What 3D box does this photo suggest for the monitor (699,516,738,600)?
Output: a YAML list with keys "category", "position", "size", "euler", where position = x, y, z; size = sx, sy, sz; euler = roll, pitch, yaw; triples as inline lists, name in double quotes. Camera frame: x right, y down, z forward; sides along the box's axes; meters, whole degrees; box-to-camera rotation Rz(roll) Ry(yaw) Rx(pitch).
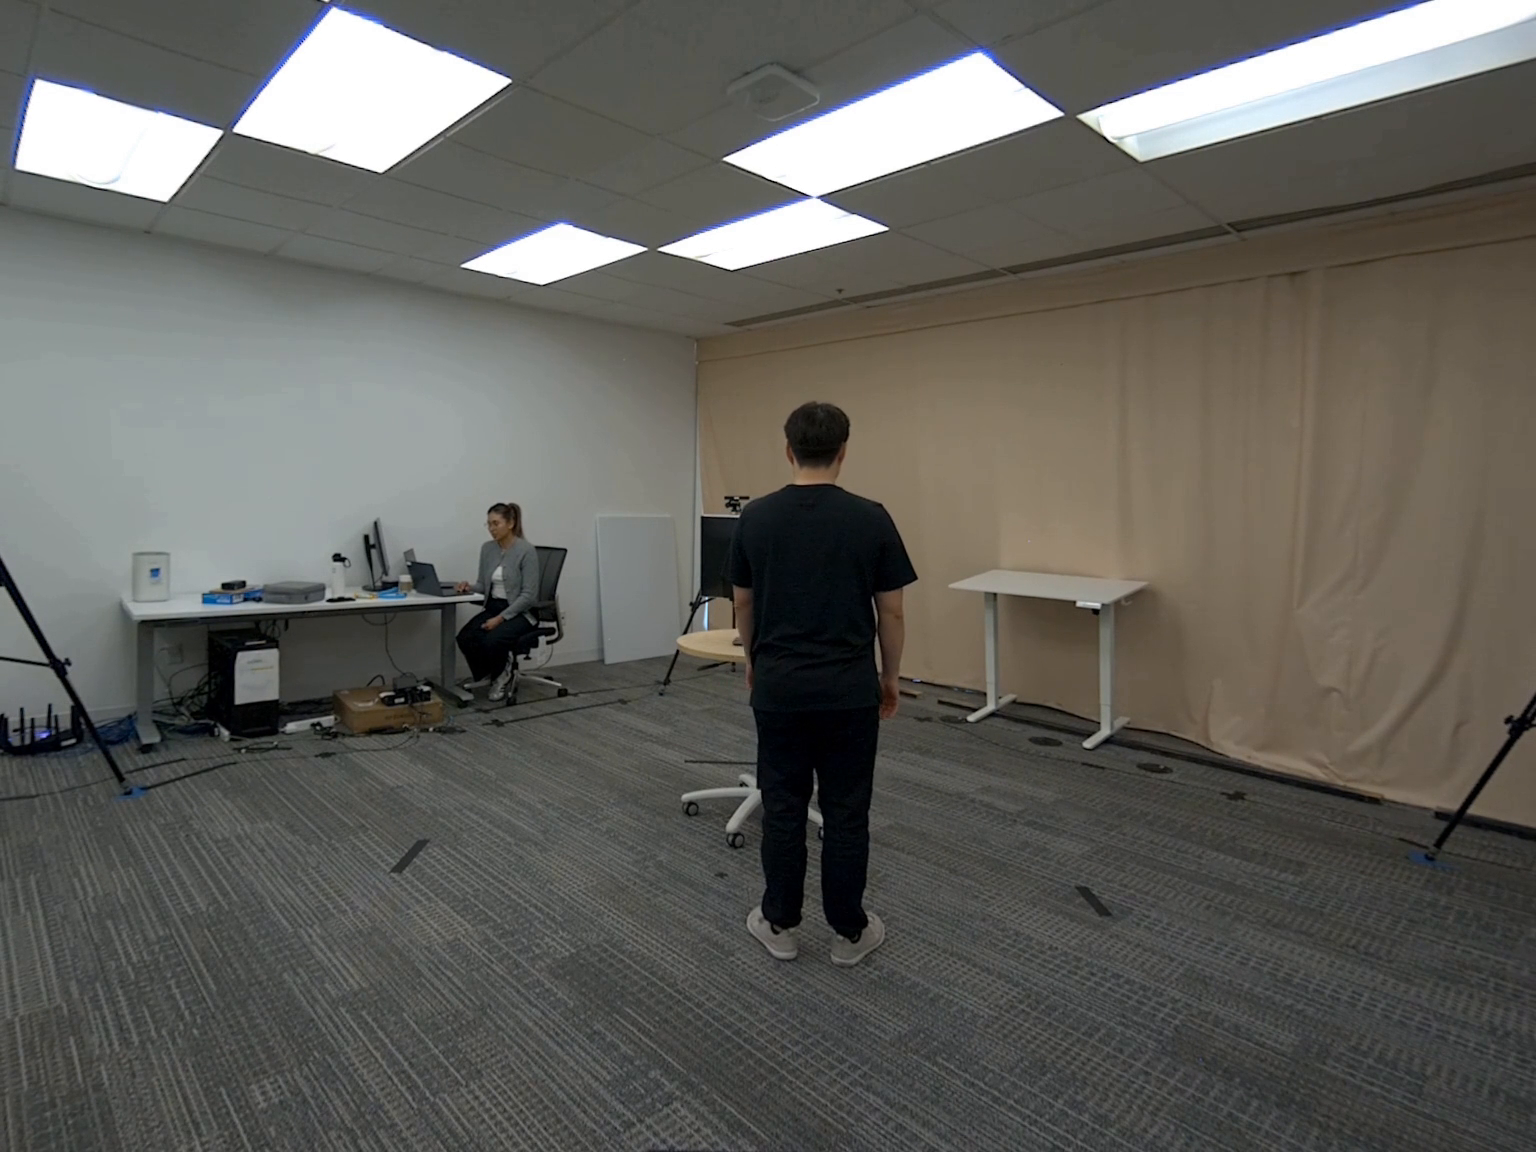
- category: "monitor"
  position: [-0.018, 0.028, 3.560]
  size: [0.540, 0.522, 0.187]
  euler: [2, 1, 3]
